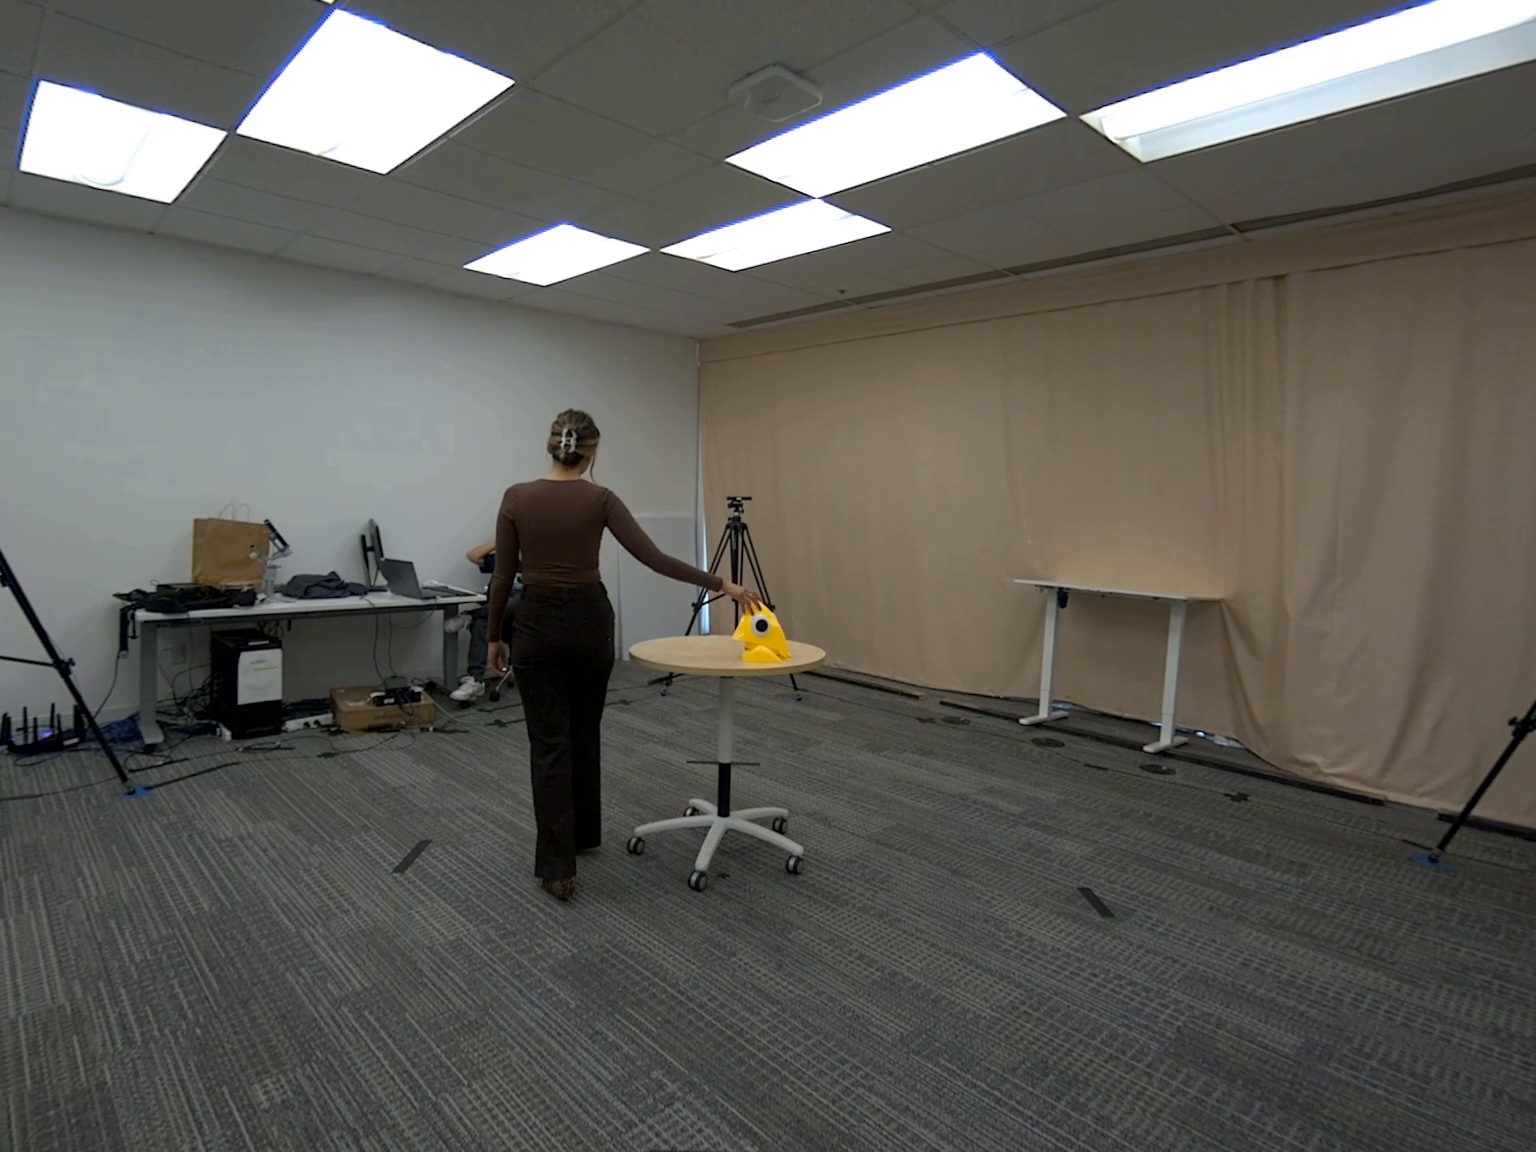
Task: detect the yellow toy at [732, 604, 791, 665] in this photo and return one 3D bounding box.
[{"bbox_3d":[-0.023,0.192,3.137,0.196,0.230,0.202,3,4,20],"label":"yellow toy"}]
